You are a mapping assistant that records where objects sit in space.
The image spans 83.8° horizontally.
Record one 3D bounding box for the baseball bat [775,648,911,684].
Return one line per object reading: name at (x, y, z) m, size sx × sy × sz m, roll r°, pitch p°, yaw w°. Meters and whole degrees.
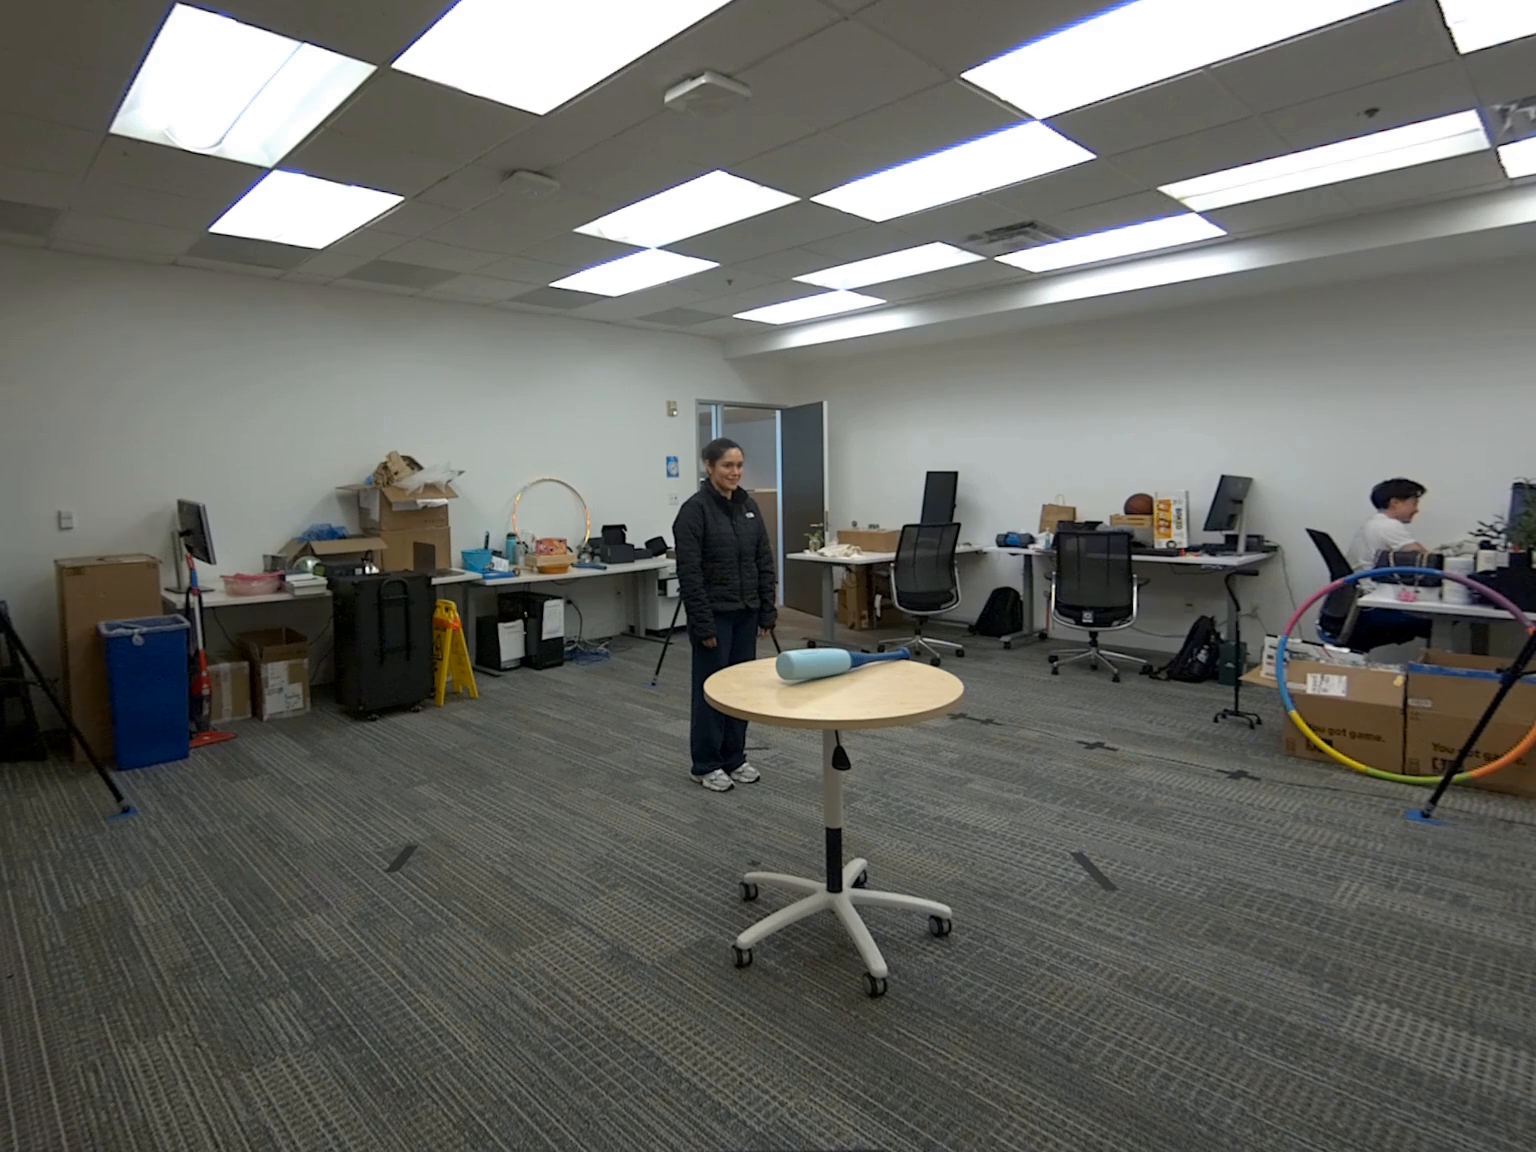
baseball bat at (0.241, 0.268, 2.715) m, size 0.528 × 0.089 × 0.092 m, roll -1°, pitch 4°, yaw -38°
